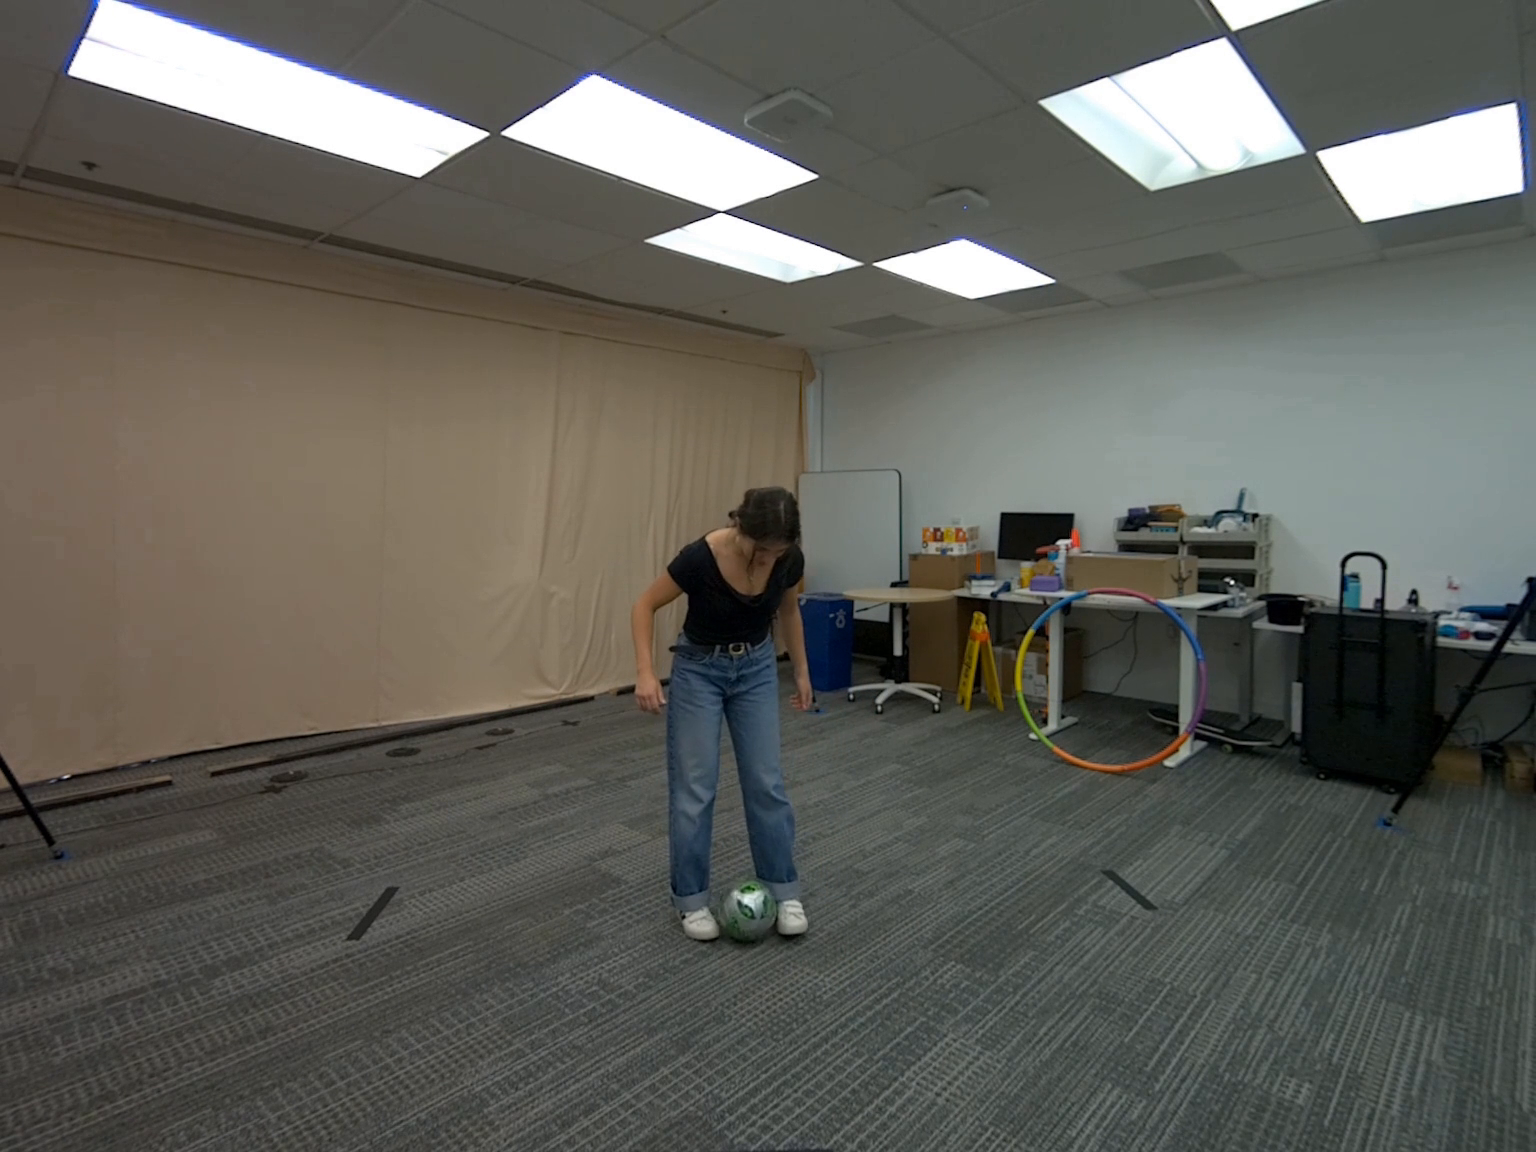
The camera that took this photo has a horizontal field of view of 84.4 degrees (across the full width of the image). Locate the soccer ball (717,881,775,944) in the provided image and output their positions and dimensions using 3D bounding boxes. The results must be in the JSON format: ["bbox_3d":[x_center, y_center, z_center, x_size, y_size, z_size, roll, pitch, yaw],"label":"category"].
[{"bbox_3d":[-0.059,1.077,2.703,0.187,0.187,0.188,0,4,-2],"label":"soccer ball"}]
